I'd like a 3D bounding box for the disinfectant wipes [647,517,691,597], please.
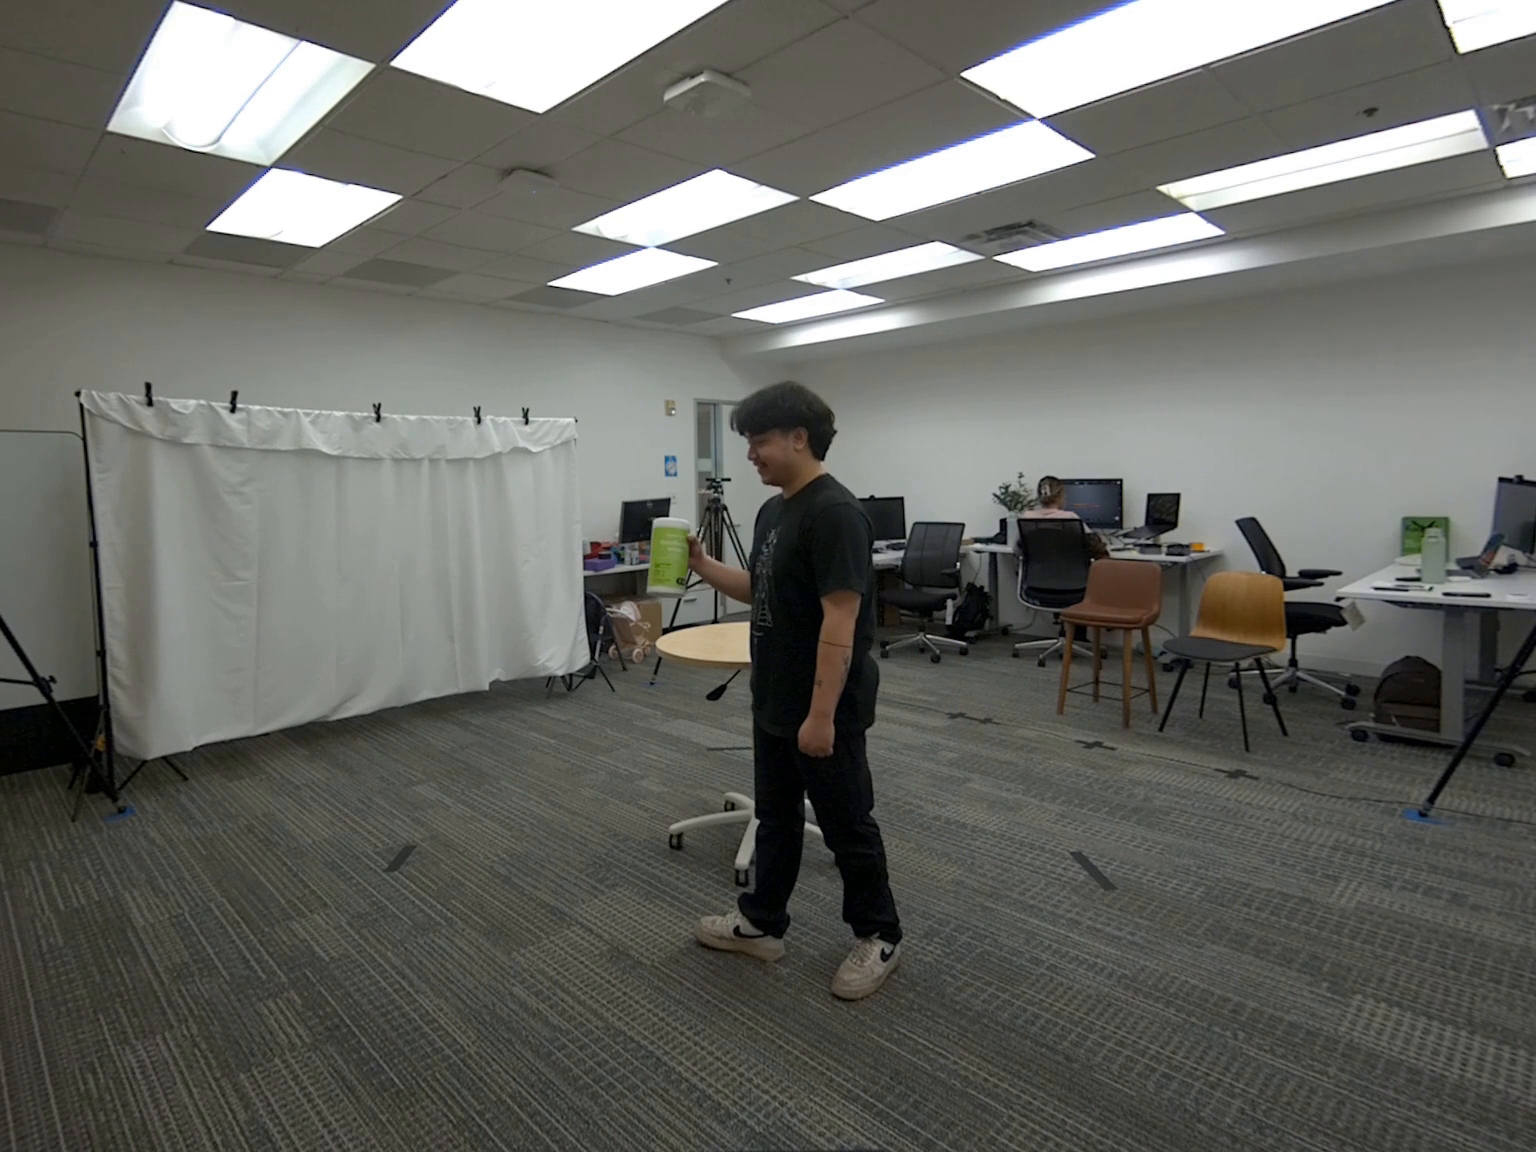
[{"bbox_3d":[-0.286,-0.053,2.421,0.118,0.218,0.117,5,-3,-2],"label":"disinfectant wipes"}]
